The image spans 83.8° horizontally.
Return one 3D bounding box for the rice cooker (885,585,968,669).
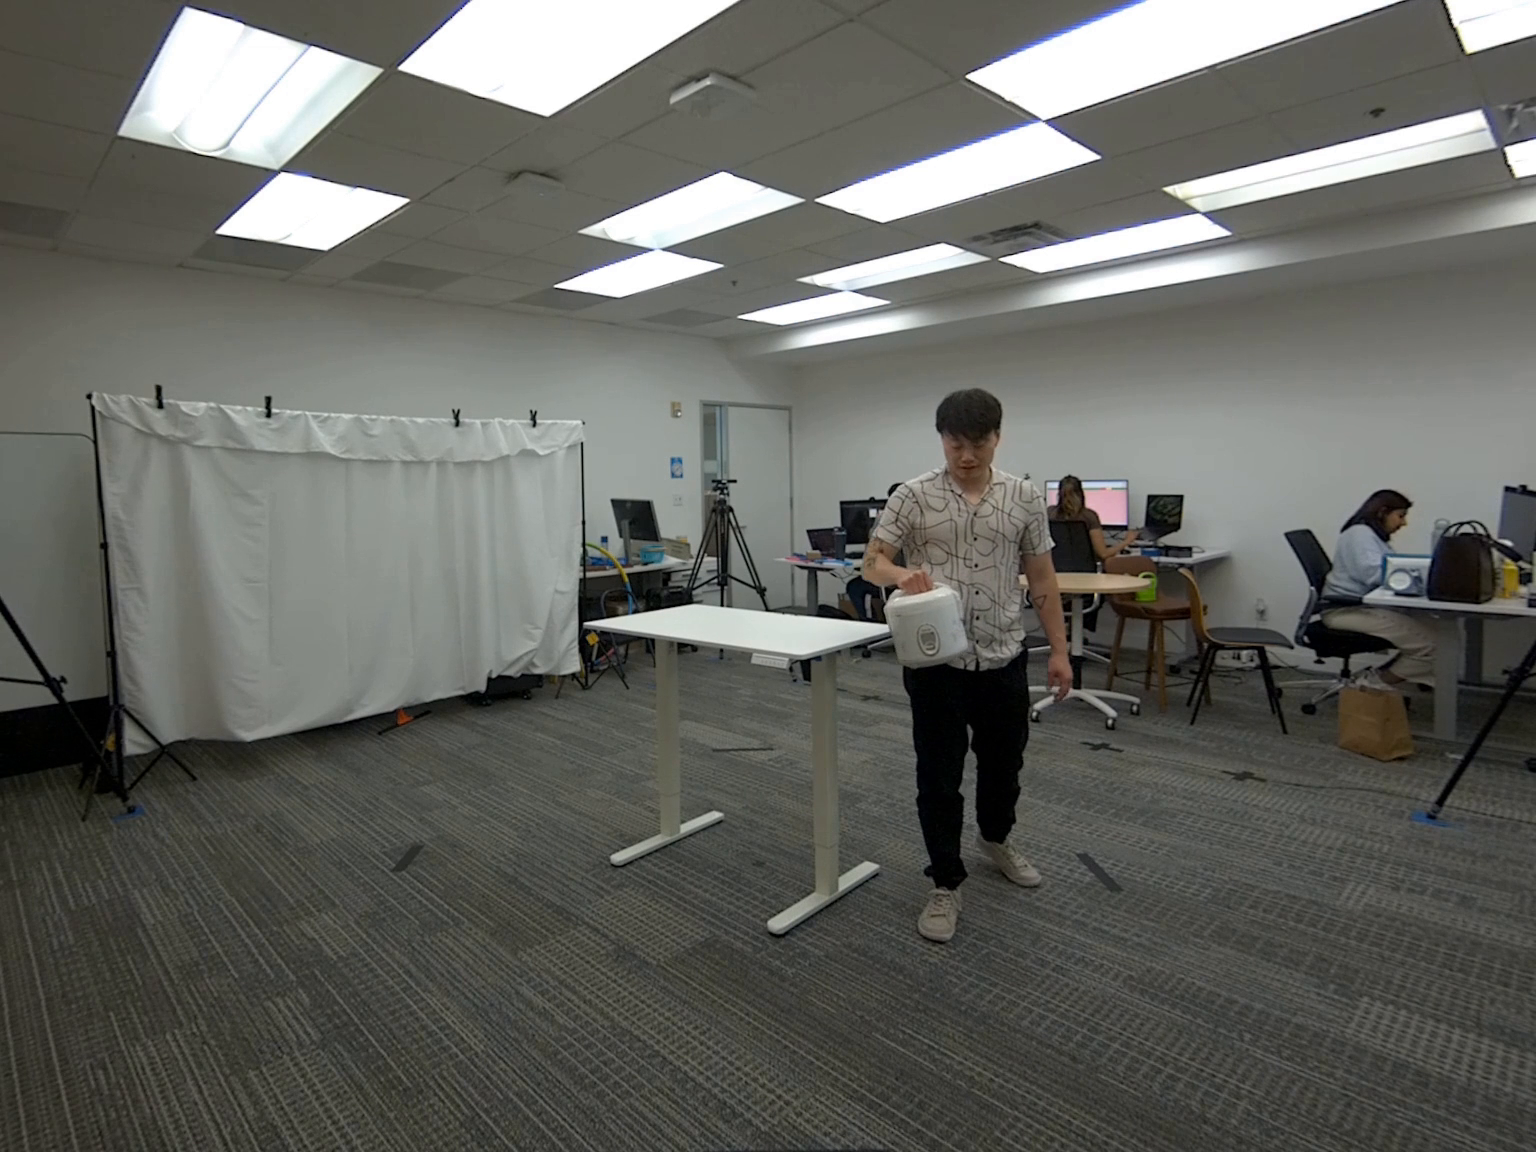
[{"bbox_3d":[0.466,0.135,2.487,0.223,0.233,0.215,-14,0,13],"label":"rice cooker"}]
